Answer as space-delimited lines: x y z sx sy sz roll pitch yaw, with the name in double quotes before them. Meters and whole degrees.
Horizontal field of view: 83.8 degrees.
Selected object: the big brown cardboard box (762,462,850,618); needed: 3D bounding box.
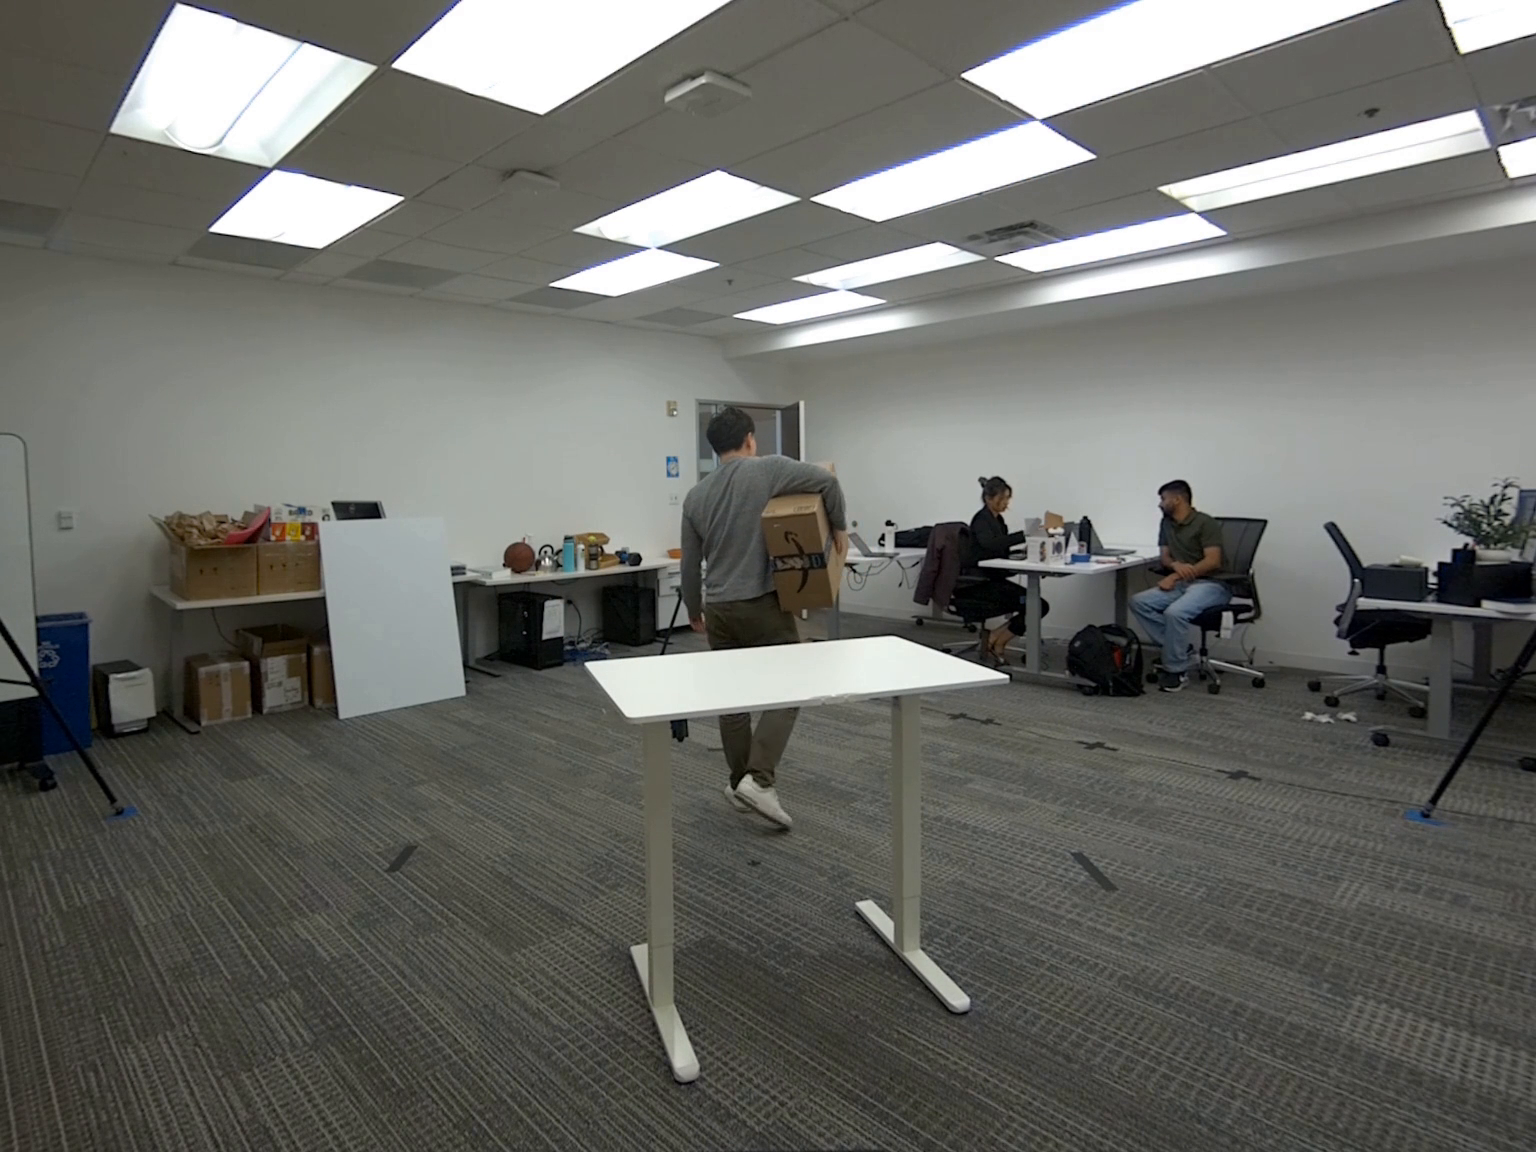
"big brown cardboard box" 0.169 -0.175 3.530 0.236 0.408 0.594 -6 24 16
